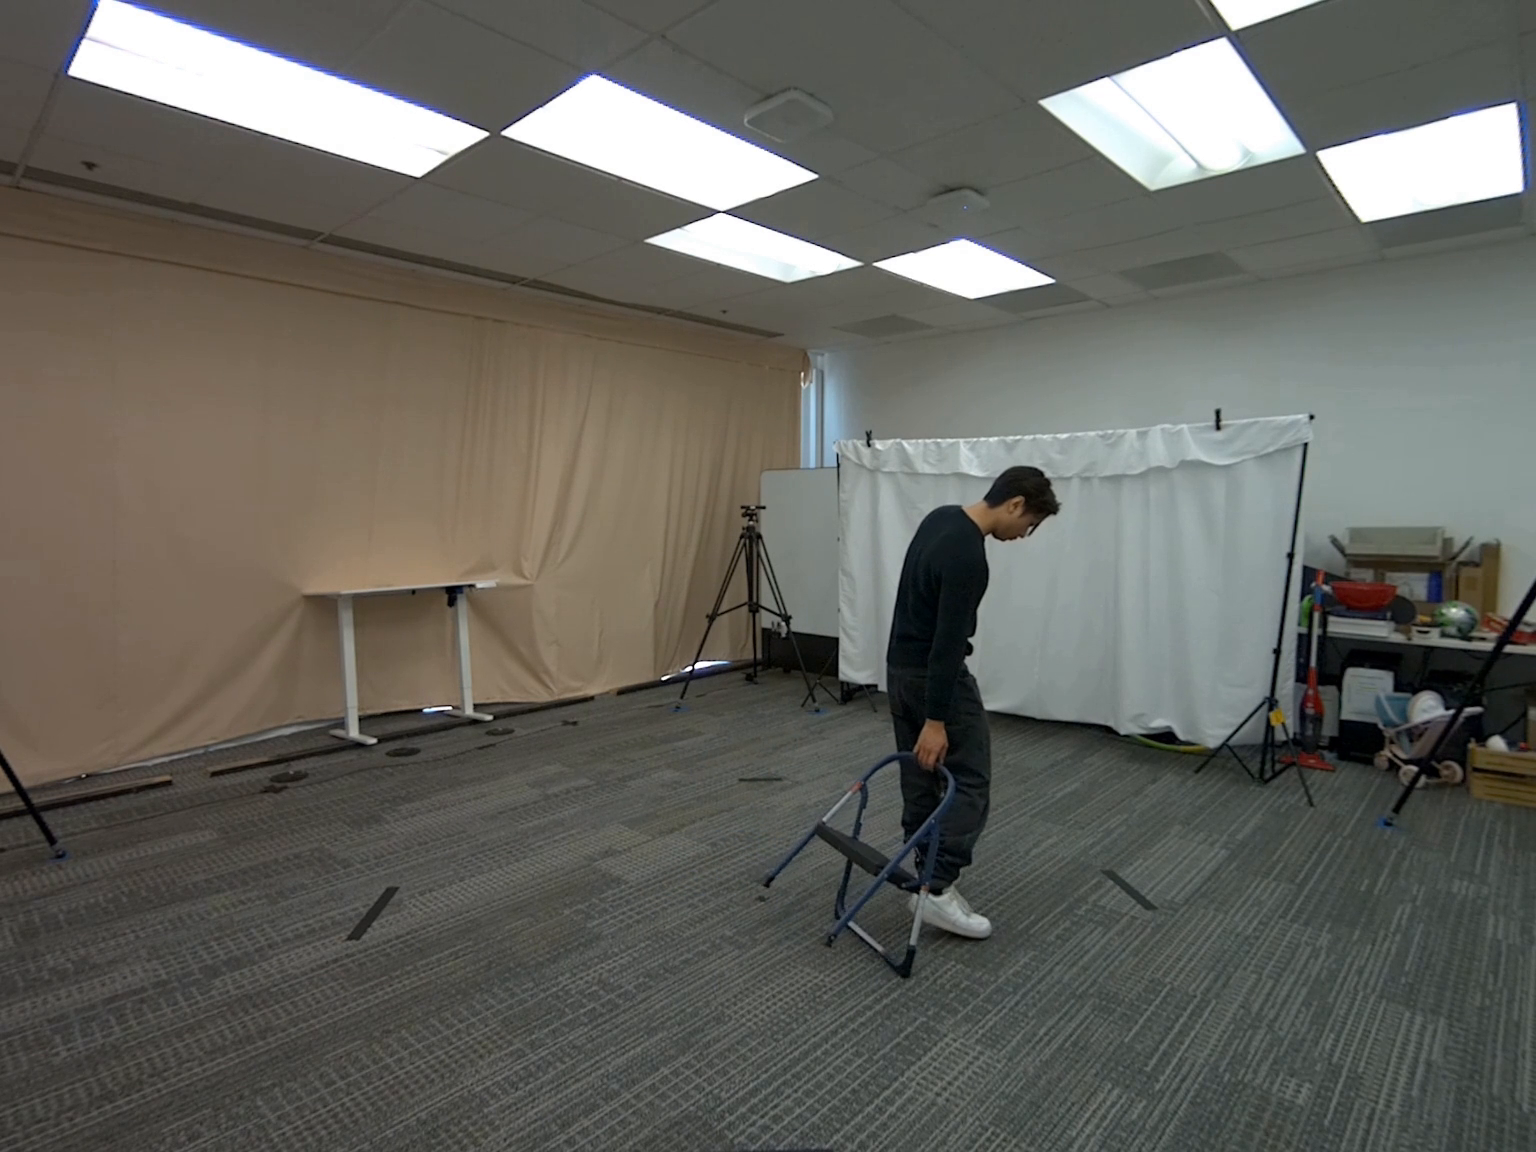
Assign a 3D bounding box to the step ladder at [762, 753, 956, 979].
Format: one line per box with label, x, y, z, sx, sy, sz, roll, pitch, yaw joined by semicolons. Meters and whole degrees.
step ladder;0.331;0.833;2.645;0.340;0.606;0.442;31;-9;-24
